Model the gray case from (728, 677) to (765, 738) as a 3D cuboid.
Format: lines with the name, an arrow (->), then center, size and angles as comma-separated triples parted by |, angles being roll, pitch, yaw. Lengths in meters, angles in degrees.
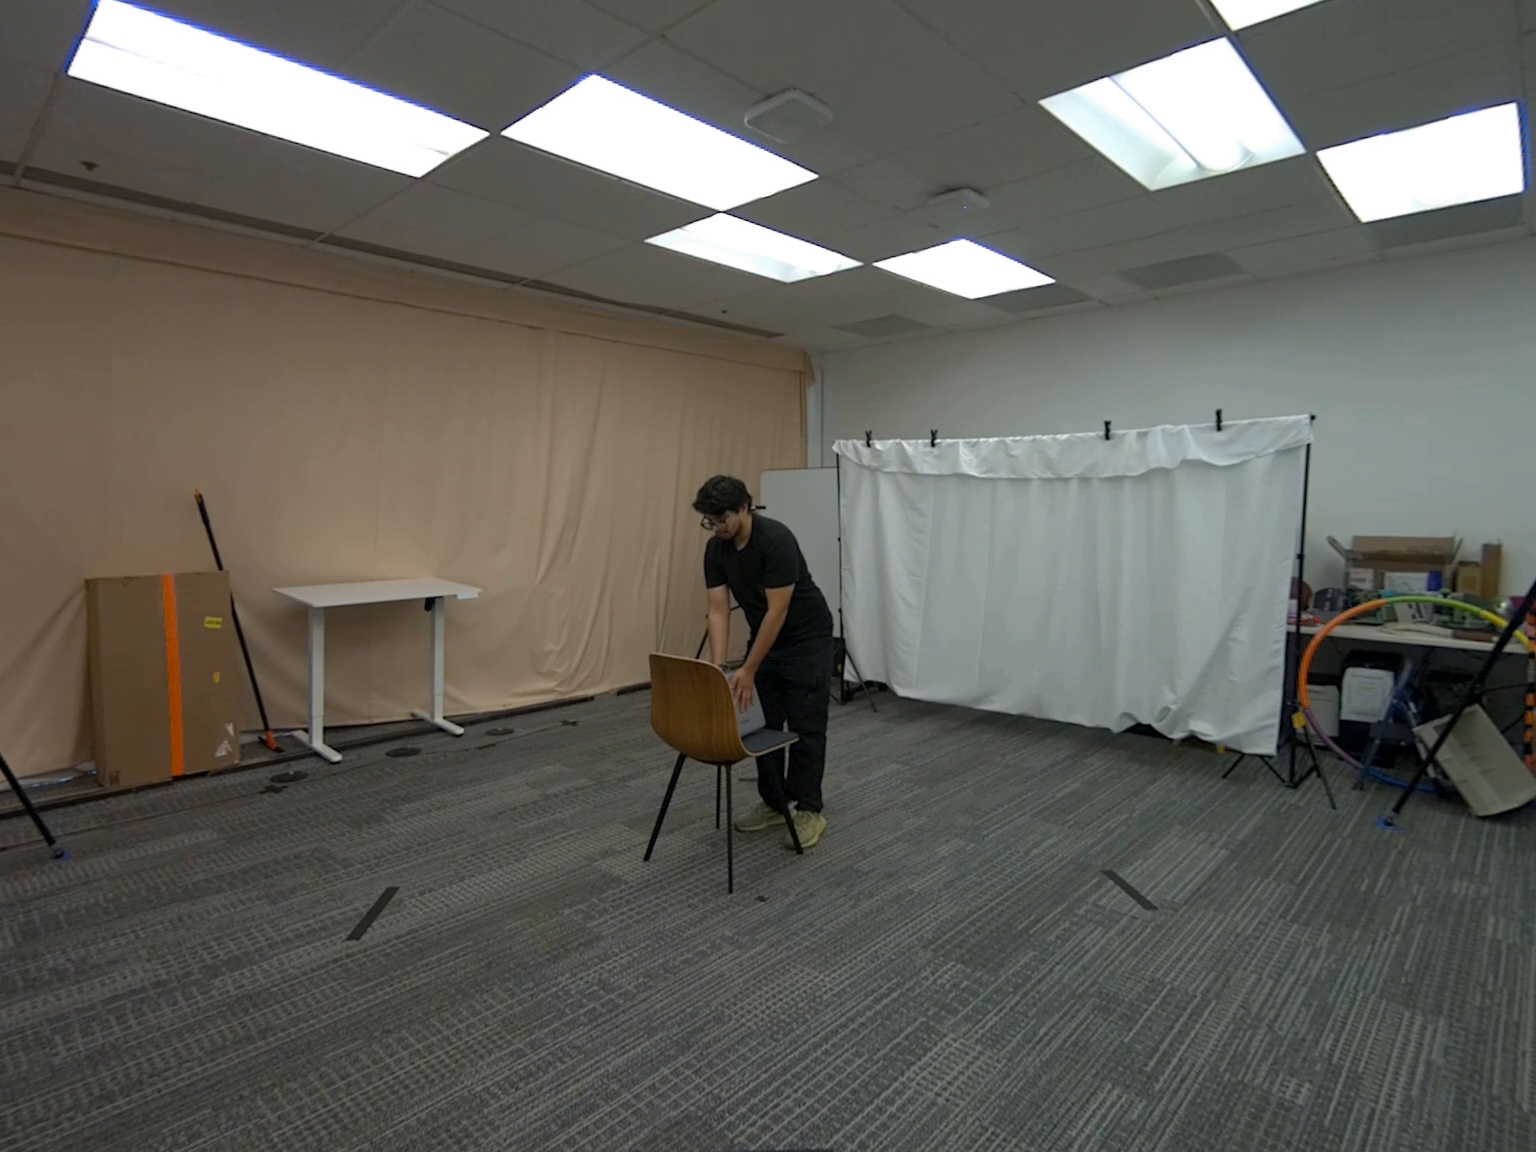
gray case -> -0.145, 0.514, 3.342 | 0.107, 0.262, 0.250 | -21, -6, 37
